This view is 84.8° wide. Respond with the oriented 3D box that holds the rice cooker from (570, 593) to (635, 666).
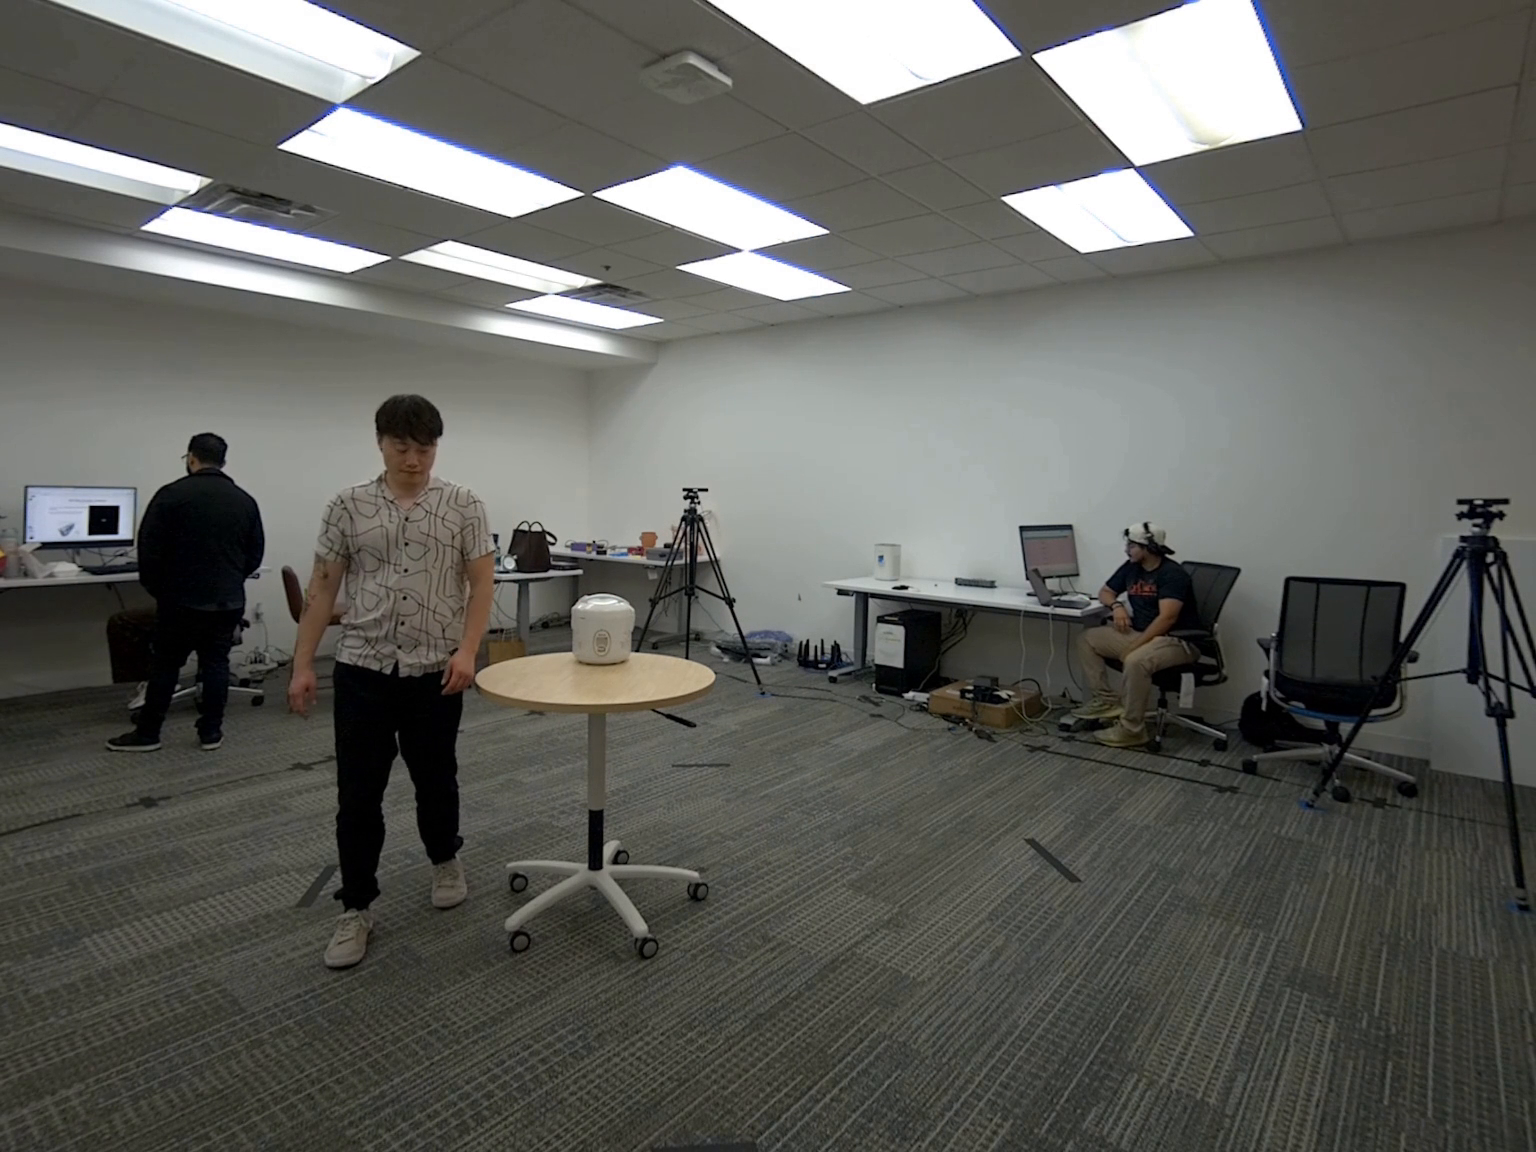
[{"bbox_3d":[-0.586,0.176,2.967,0.219,0.232,0.220,1,4,-9],"label":"rice cooker"}]
